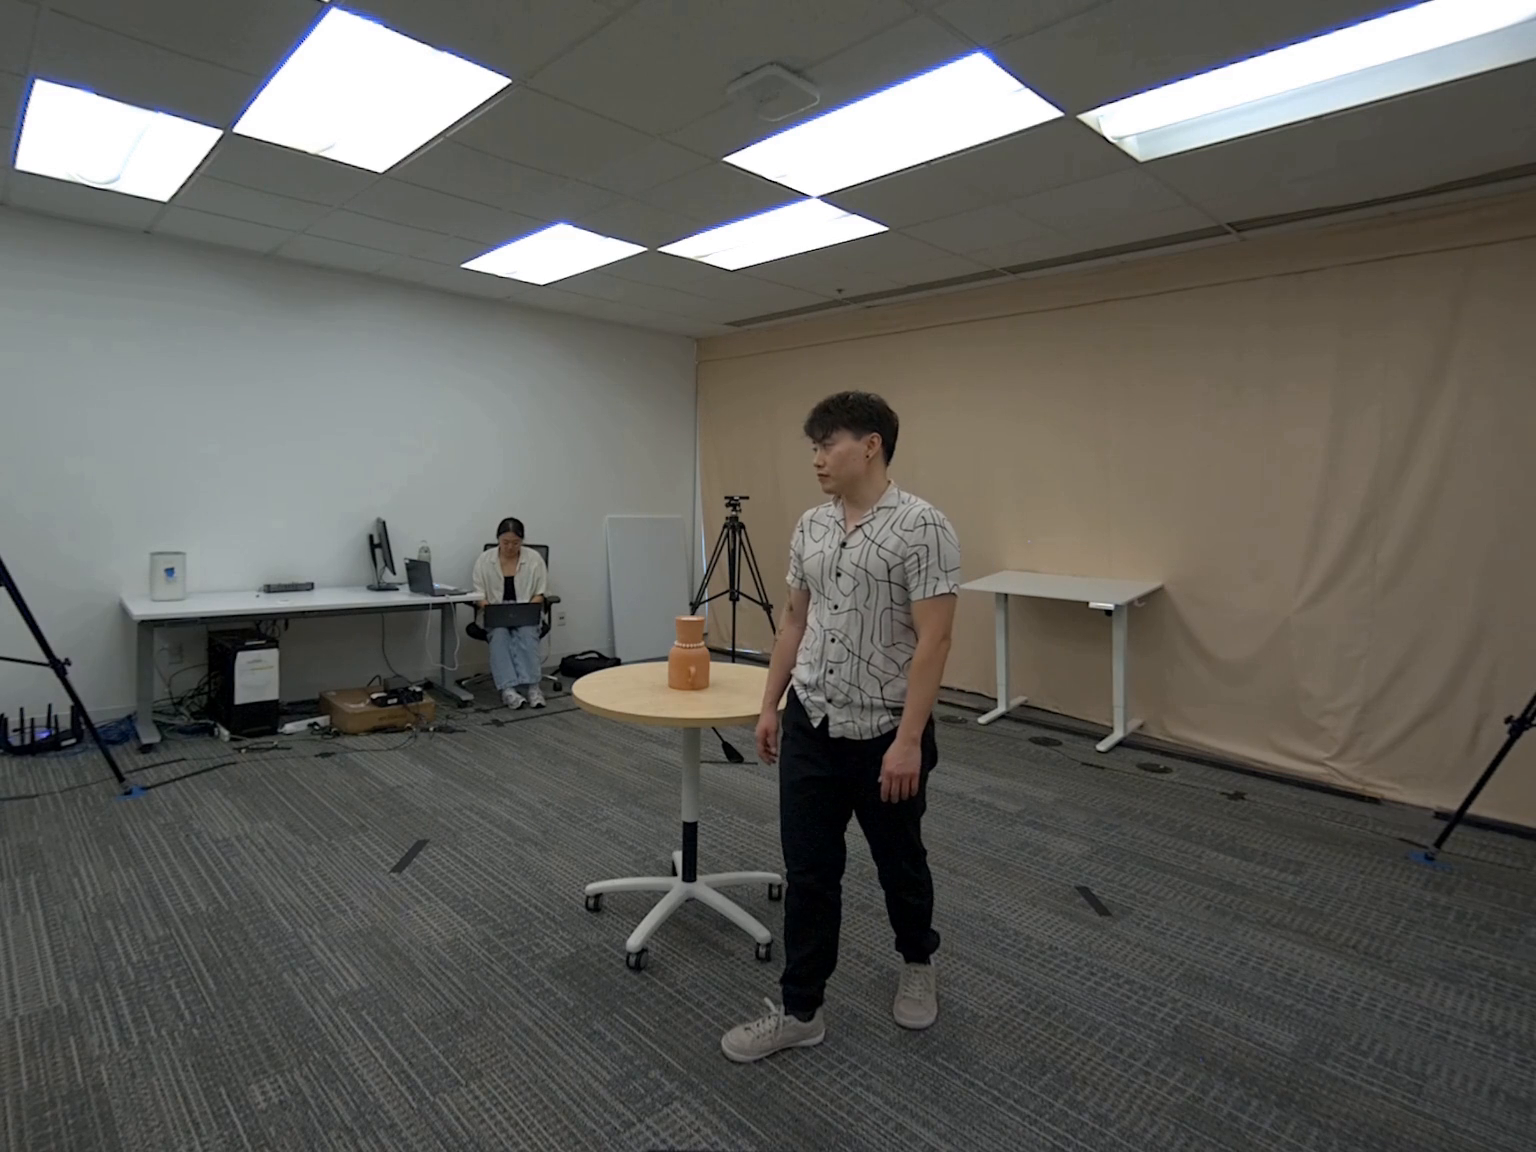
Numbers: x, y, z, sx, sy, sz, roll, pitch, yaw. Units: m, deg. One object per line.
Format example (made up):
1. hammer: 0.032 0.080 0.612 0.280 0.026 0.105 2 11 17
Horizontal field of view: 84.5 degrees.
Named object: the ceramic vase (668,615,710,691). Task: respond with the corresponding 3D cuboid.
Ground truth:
1. ceramic vase: -0.261 0.249 2.699 0.163 0.219 0.132 6 7 37
